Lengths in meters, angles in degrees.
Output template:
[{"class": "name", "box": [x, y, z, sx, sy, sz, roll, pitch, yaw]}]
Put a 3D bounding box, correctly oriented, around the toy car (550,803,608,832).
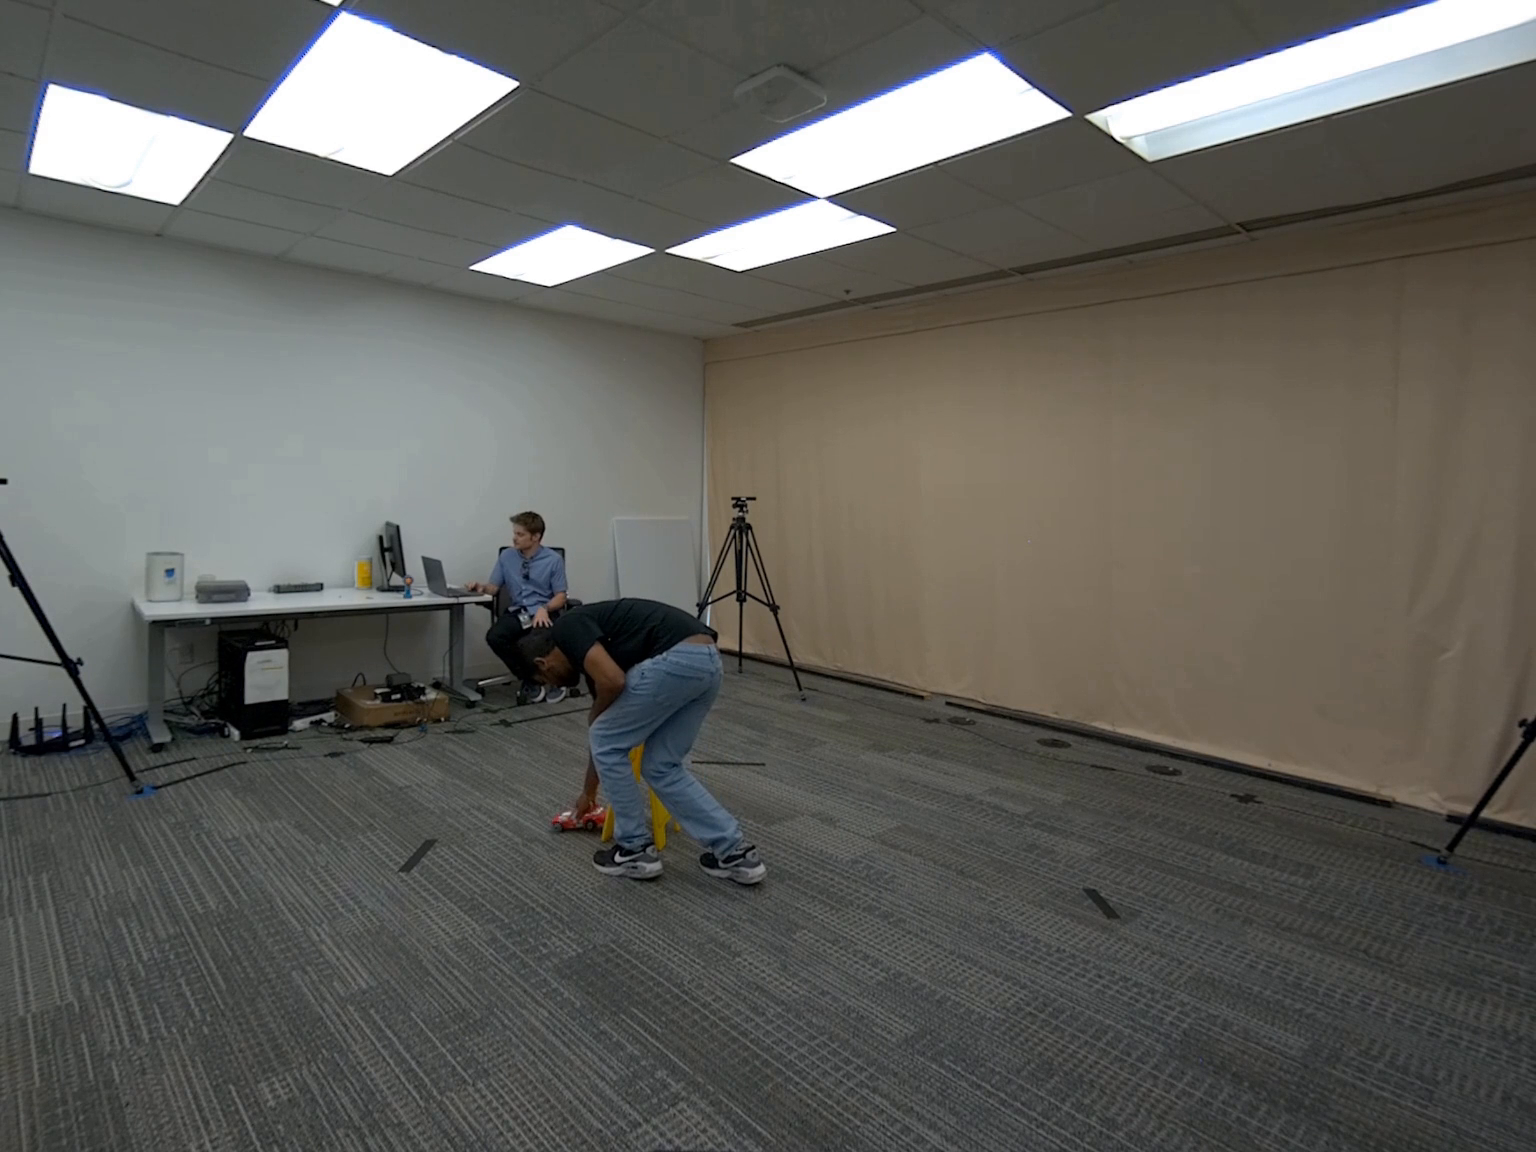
[{"class": "toy car", "box": [-0.774, 1.006, 3.510, 0.255, 0.083, 0.129, -15, 0, 6]}]
